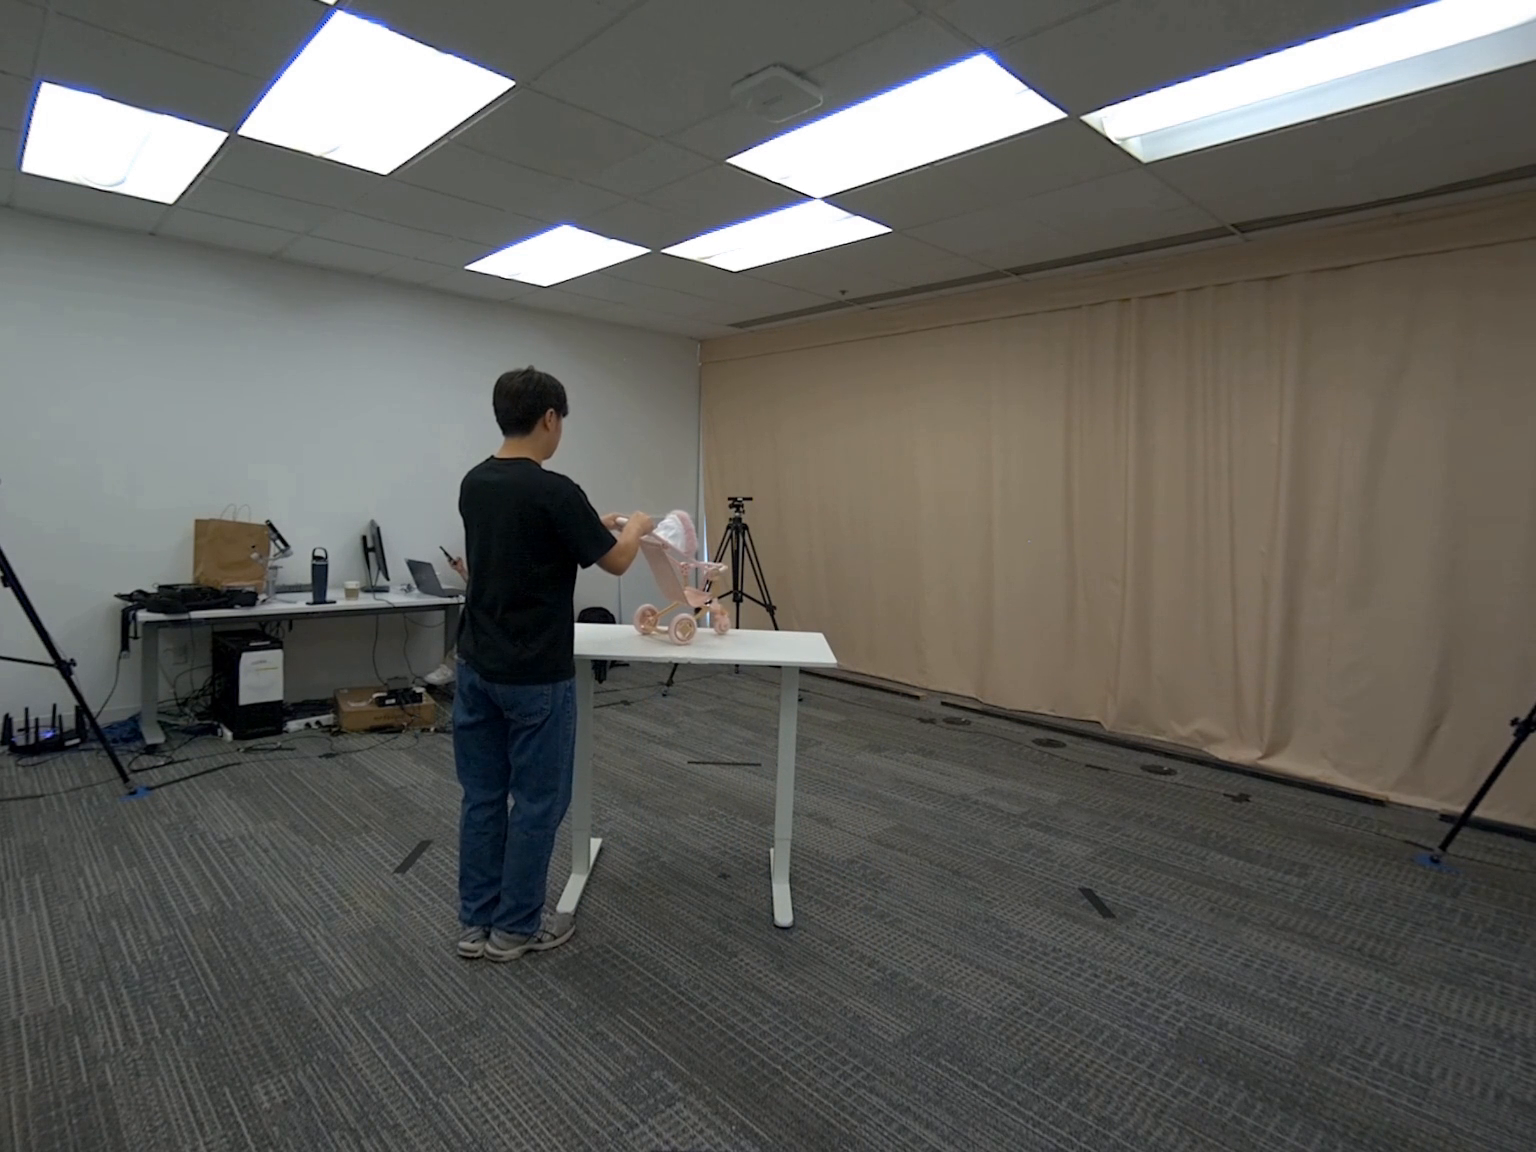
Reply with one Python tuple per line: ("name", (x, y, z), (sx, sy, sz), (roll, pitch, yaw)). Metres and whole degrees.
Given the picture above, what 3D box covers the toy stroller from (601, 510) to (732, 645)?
("toy stroller", (-0.319, 0.004, 3.017), (0.337, 0.529, 0.288), (-19, 15, -30))
